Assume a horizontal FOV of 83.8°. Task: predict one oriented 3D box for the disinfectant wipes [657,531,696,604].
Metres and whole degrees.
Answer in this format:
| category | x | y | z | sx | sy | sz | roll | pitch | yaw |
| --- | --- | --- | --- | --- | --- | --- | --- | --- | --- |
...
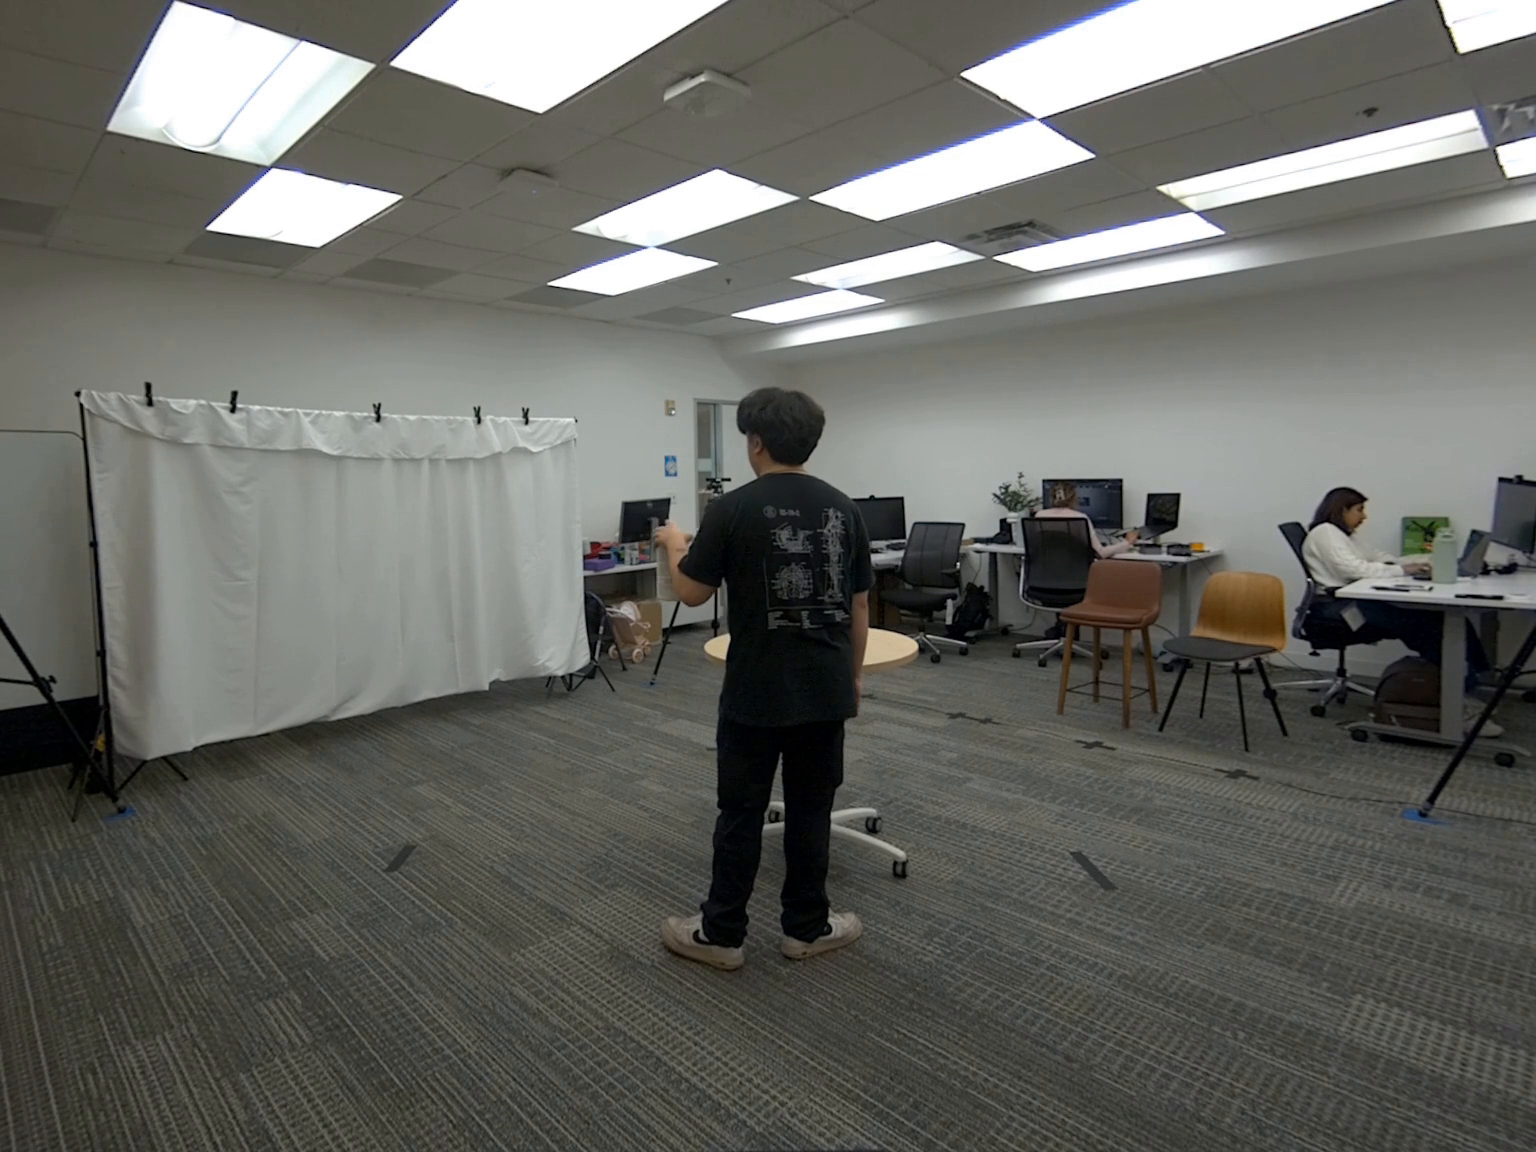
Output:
| category | x | y | z | sx | sy | sz | roll | pitch | yaw |
| --- | --- | --- | --- | --- | --- | --- | --- | --- | --- |
| disinfectant wipes | -0.291 | -0.031 | 2.743 | 0.118 | 0.216 | 0.118 | -1 | 5 | -2 |
